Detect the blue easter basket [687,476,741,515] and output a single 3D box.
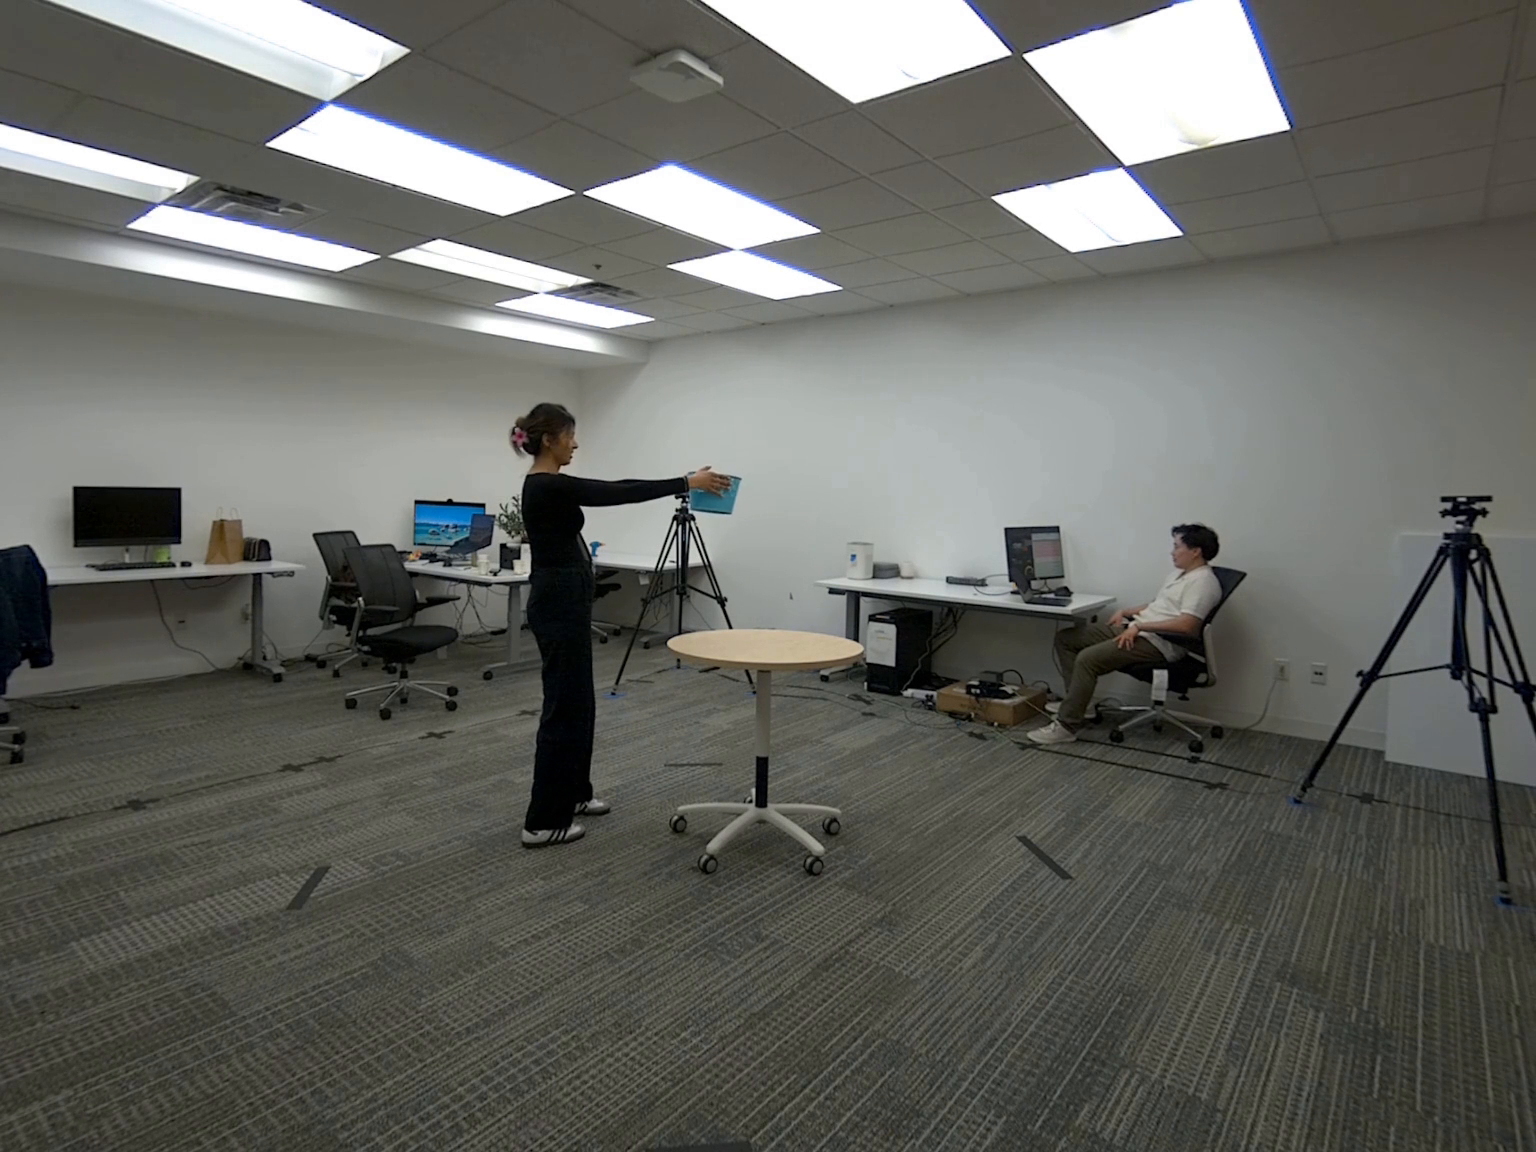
[{"bbox_3d":[-0.251,-0.347,3.597,0.243,0.156,0.243,7,-1,-2],"label":"blue easter basket"}]
